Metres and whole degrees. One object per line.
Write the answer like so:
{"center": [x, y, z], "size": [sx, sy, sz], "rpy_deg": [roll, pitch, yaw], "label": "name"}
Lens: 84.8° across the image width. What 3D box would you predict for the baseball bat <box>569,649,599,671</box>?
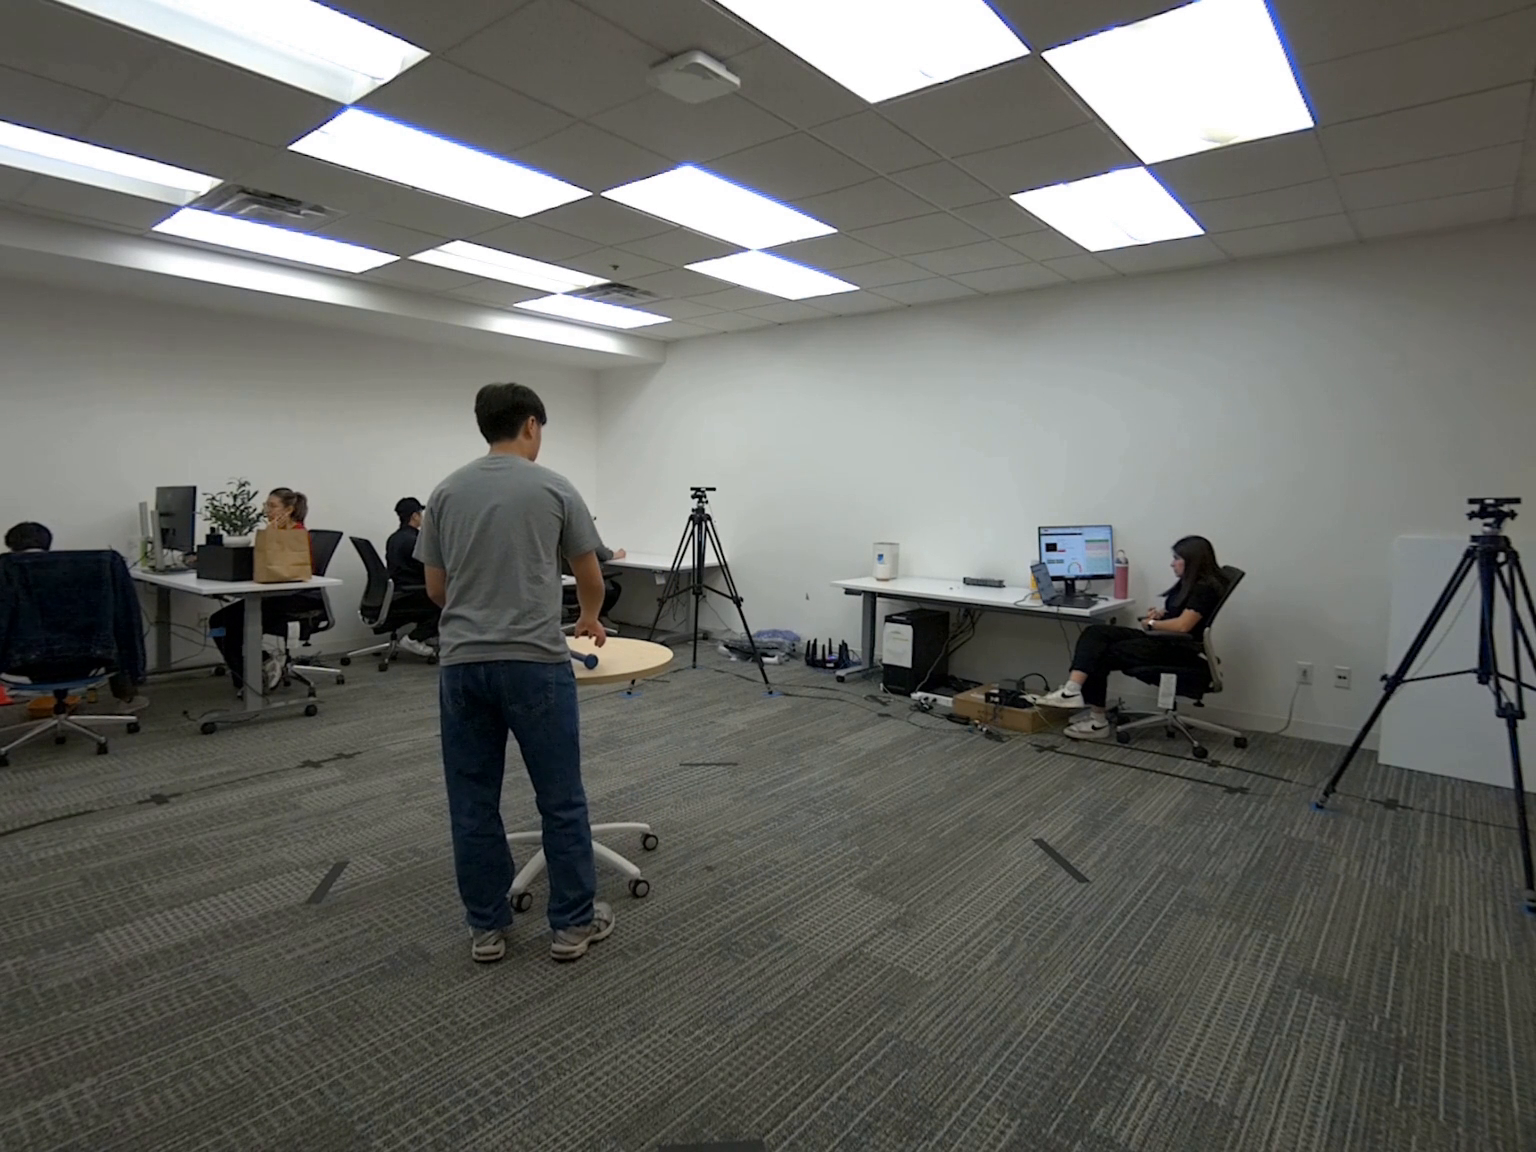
{"center": [-0.767, 0.247, 2.992], "size": [0.086, 0.088, 0.563], "rpy_deg": [-3, 9, -42], "label": "baseball bat"}
